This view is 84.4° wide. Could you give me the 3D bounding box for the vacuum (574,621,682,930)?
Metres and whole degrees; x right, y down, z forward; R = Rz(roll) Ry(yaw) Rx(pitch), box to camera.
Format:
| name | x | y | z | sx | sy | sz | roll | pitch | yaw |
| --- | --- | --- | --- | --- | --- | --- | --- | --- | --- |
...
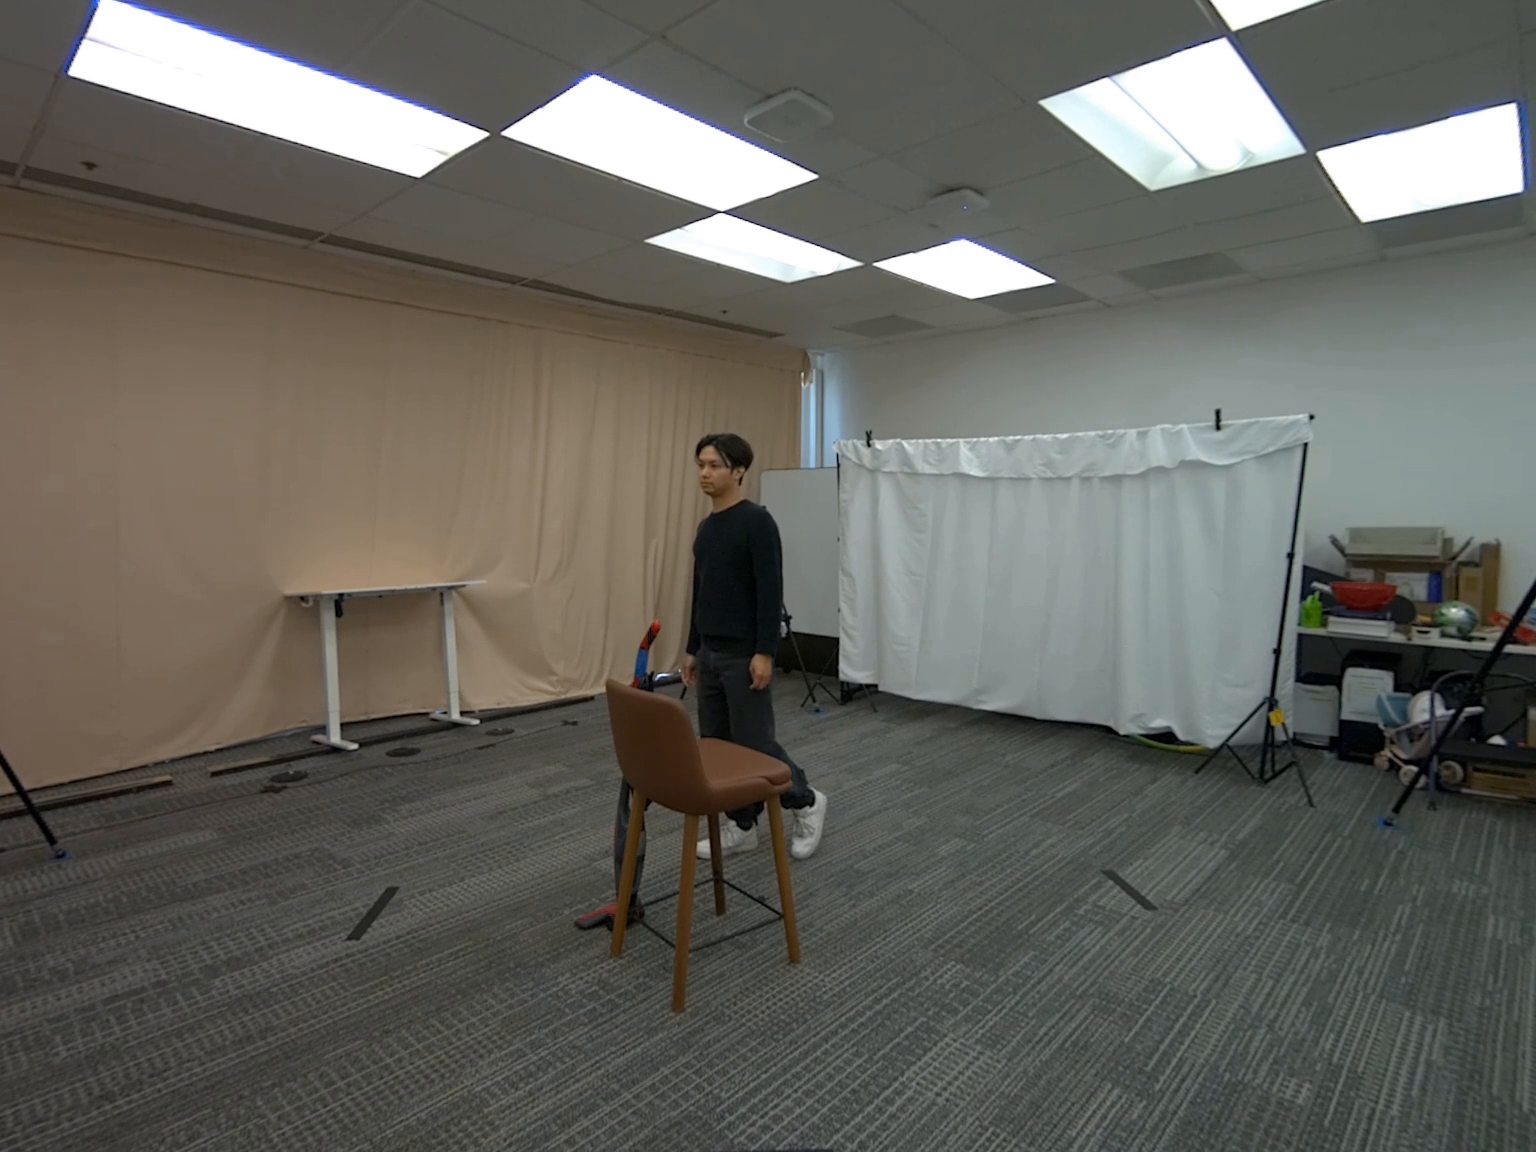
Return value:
| name | x | y | z | sx | sy | sz | roll | pitch | yaw |
| --- | --- | --- | --- | --- | --- | --- | --- | --- | --- |
| vacuum | -0.441 | 0.668 | 2.730 | 0.149 | 1.043 | 0.245 | 19 | 16 | 41 |
